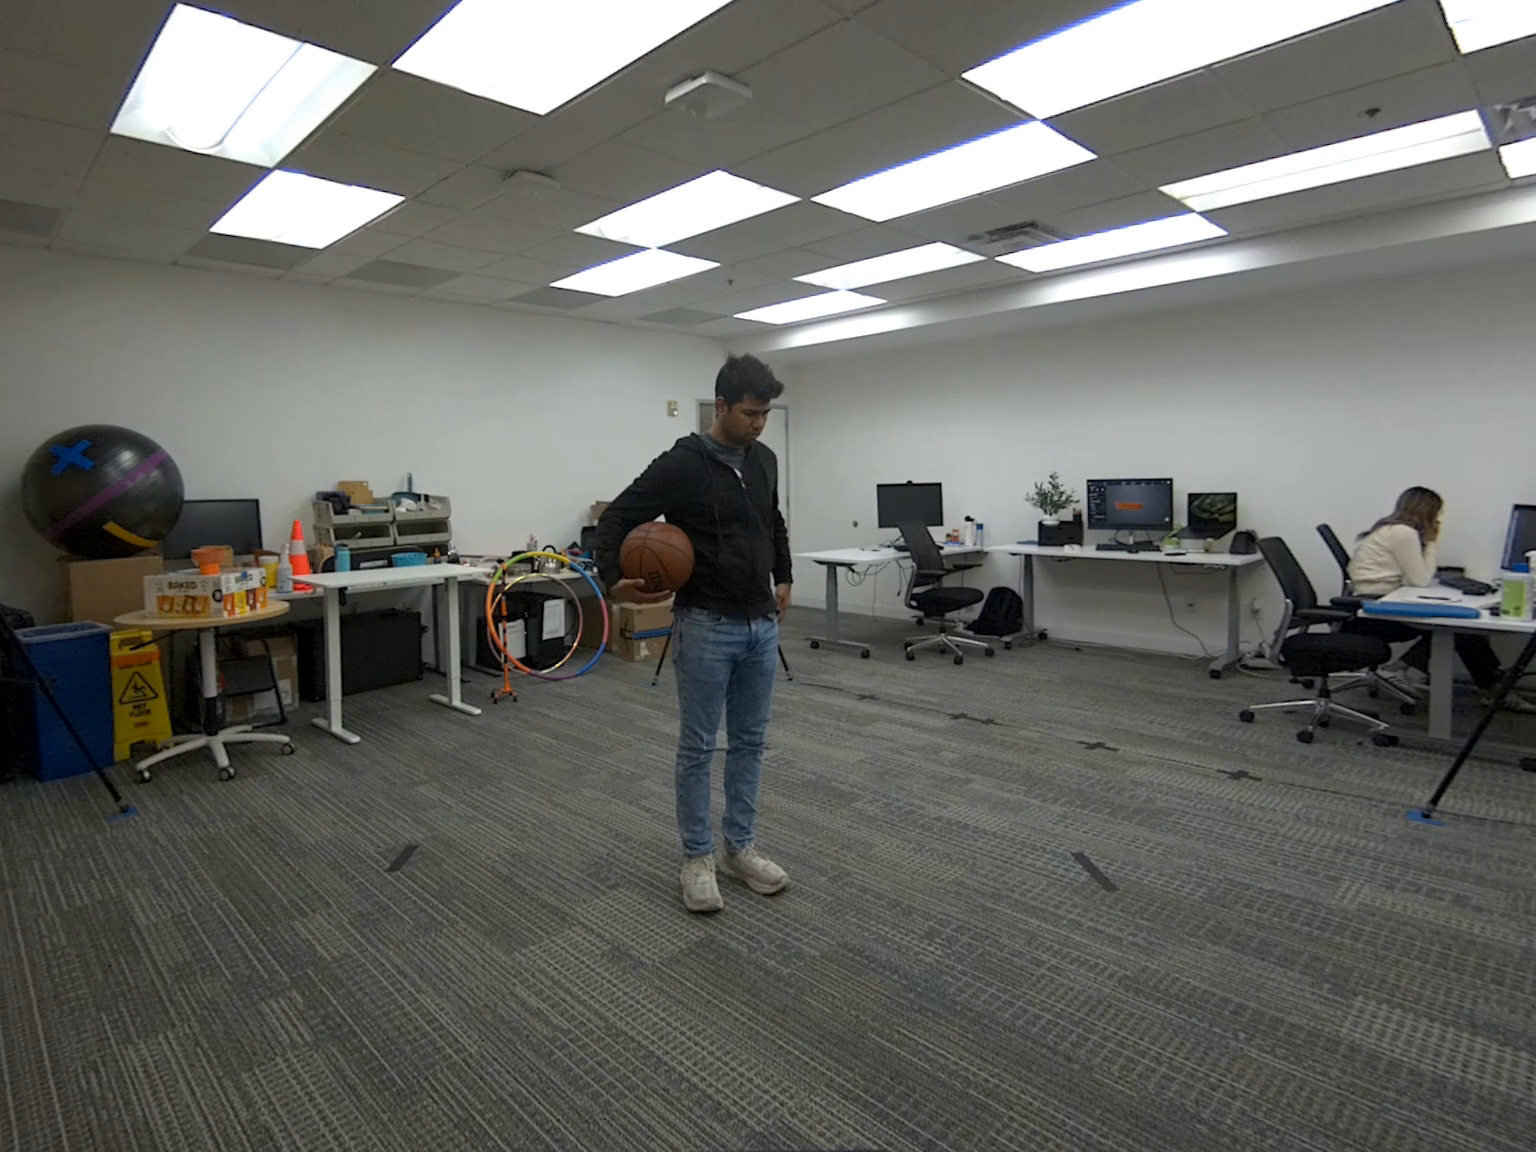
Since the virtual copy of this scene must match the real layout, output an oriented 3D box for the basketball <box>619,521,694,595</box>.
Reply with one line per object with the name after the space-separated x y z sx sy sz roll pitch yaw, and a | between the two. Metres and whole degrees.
-0.339 -0.061 2.720 0.236 0.235 0.237 -1 5 -2 | basketball
